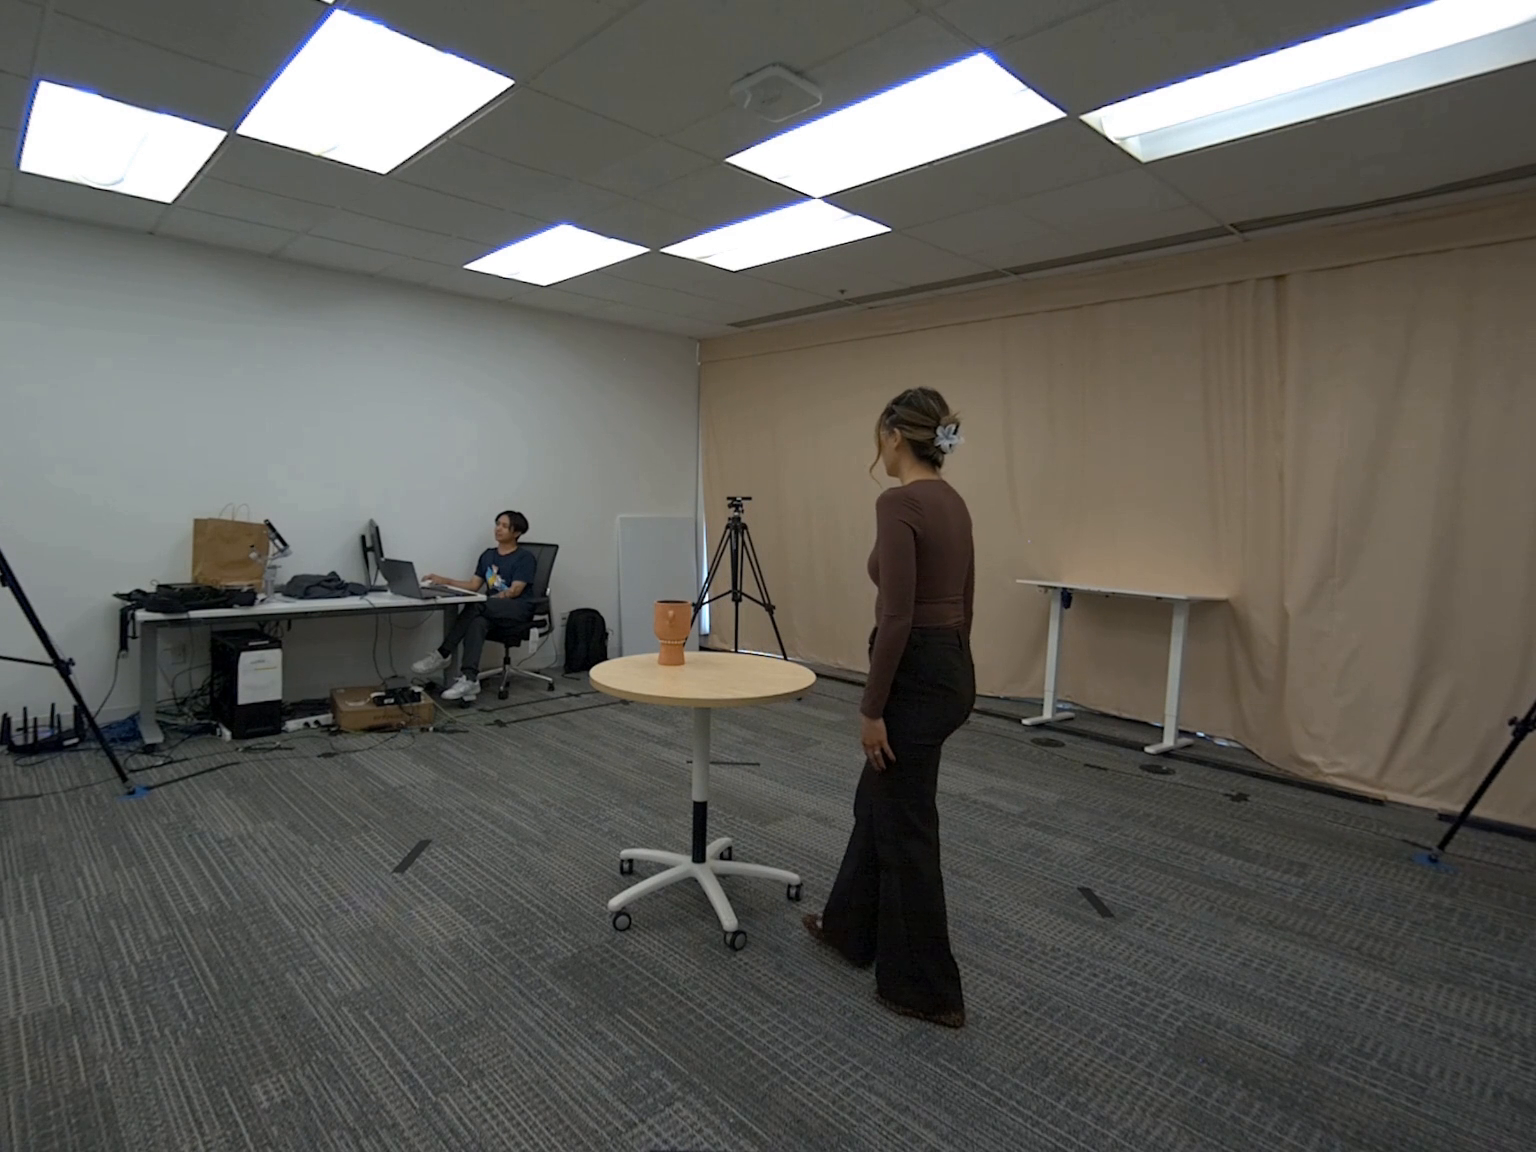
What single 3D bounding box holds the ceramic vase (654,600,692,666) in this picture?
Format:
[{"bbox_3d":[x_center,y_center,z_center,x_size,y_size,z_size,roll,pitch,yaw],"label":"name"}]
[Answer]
[{"bbox_3d":[-0.349,0.204,3.002,0.138,0.219,0.155,4,4,36],"label":"ceramic vase"}]
